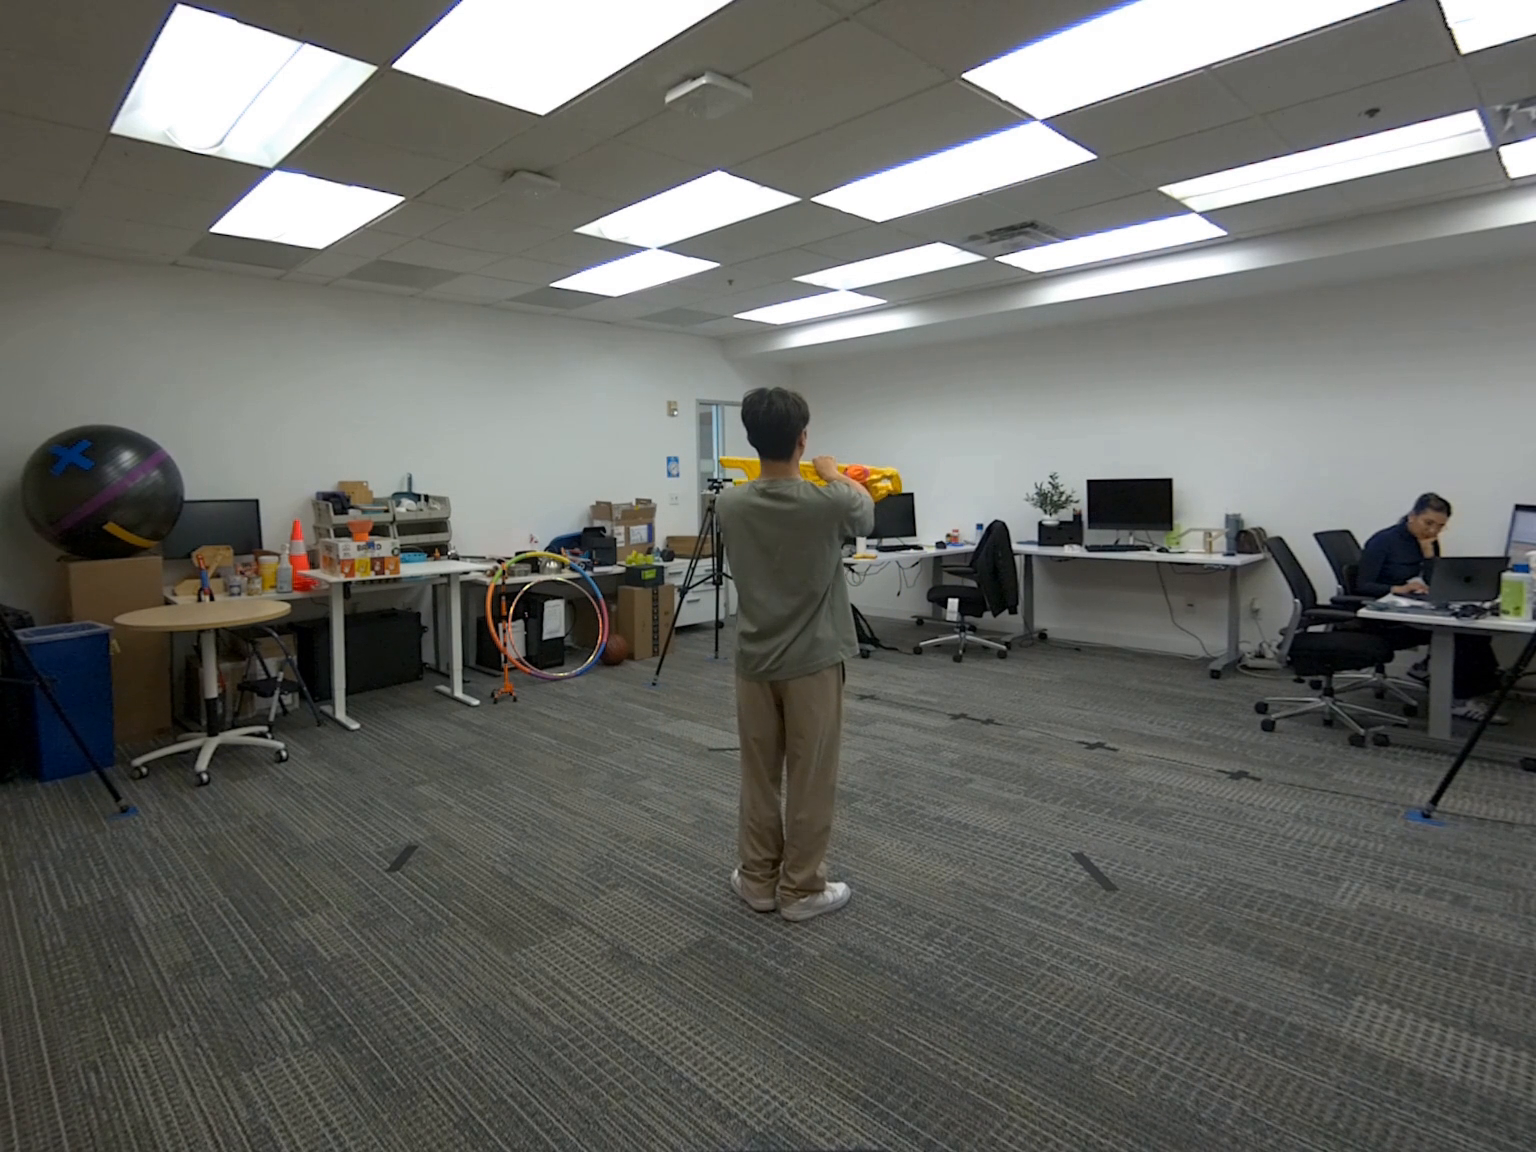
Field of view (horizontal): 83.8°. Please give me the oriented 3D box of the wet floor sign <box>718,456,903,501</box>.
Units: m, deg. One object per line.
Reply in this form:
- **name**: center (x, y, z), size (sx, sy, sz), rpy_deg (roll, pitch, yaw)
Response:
- **wet floor sign**: center (0.169, -0.302, 3.172), size (0.654, 0.295, 0.273), rpy_deg (-8, -20, 16)
